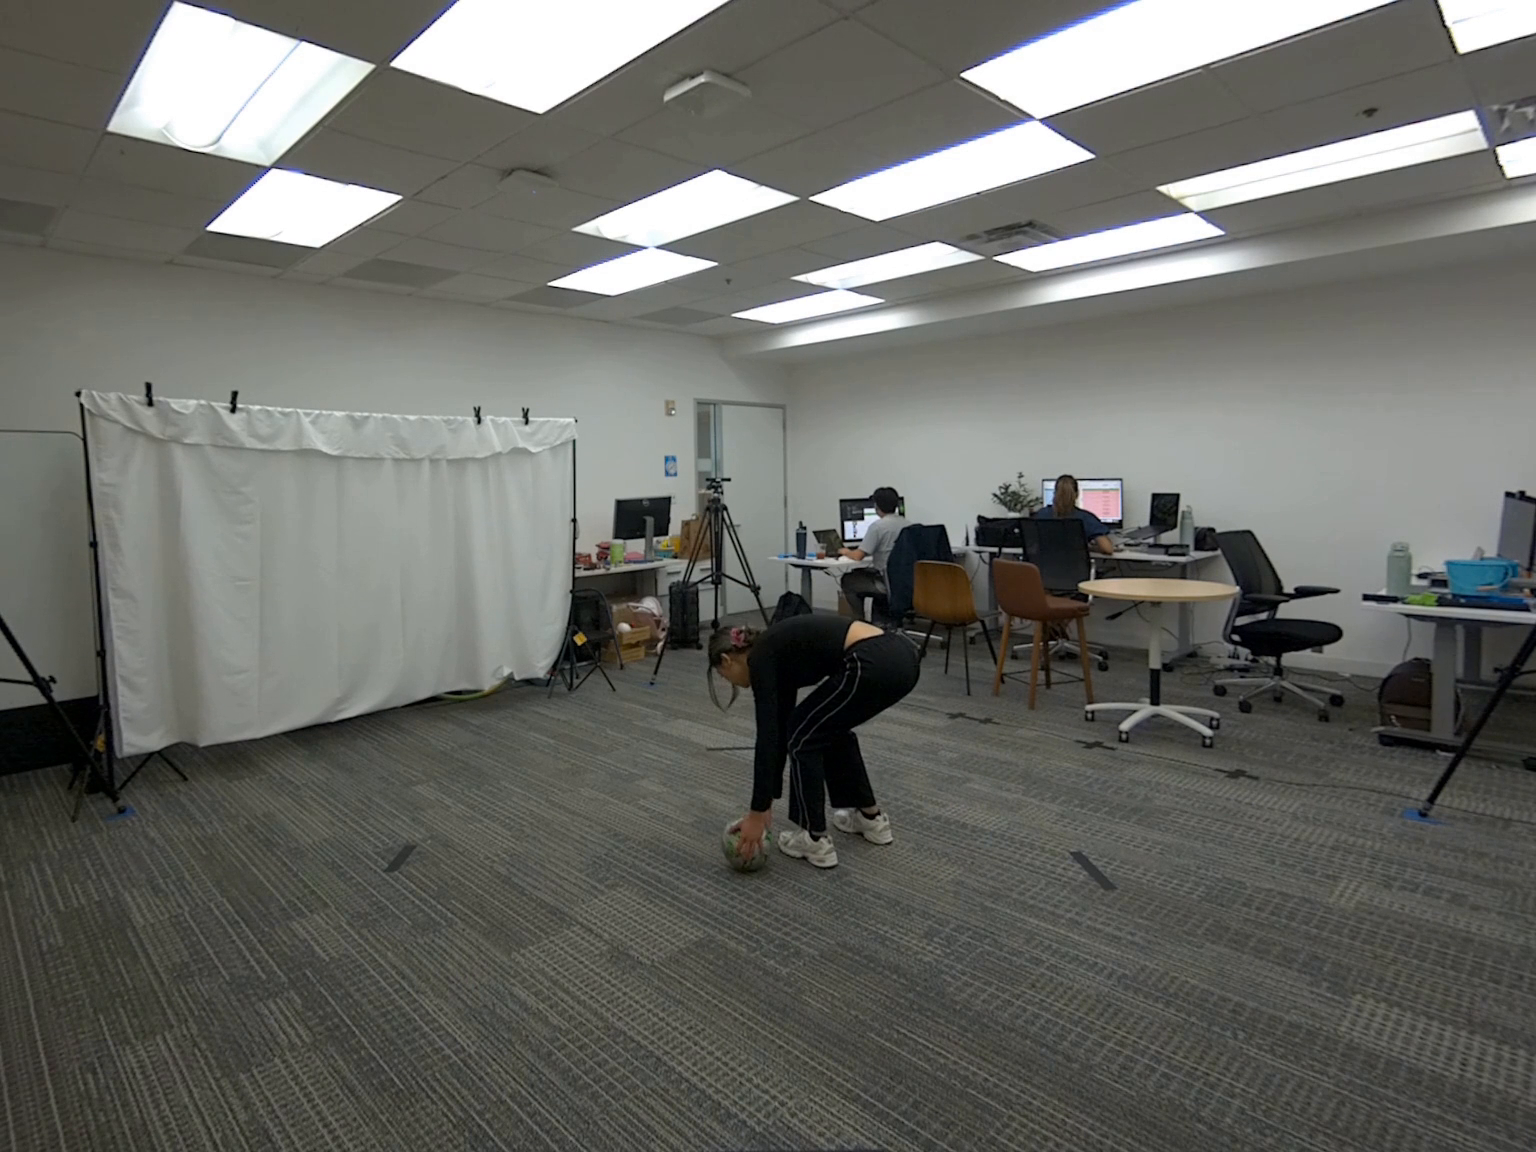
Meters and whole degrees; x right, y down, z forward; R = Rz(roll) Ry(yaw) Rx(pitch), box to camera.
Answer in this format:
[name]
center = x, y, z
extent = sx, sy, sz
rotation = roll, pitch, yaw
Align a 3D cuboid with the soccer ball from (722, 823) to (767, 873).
[soccer ball]
center = -0.072, 0.939, 3.070
extent = 0.187, 0.187, 0.188
rotation = -1, 5, -2
